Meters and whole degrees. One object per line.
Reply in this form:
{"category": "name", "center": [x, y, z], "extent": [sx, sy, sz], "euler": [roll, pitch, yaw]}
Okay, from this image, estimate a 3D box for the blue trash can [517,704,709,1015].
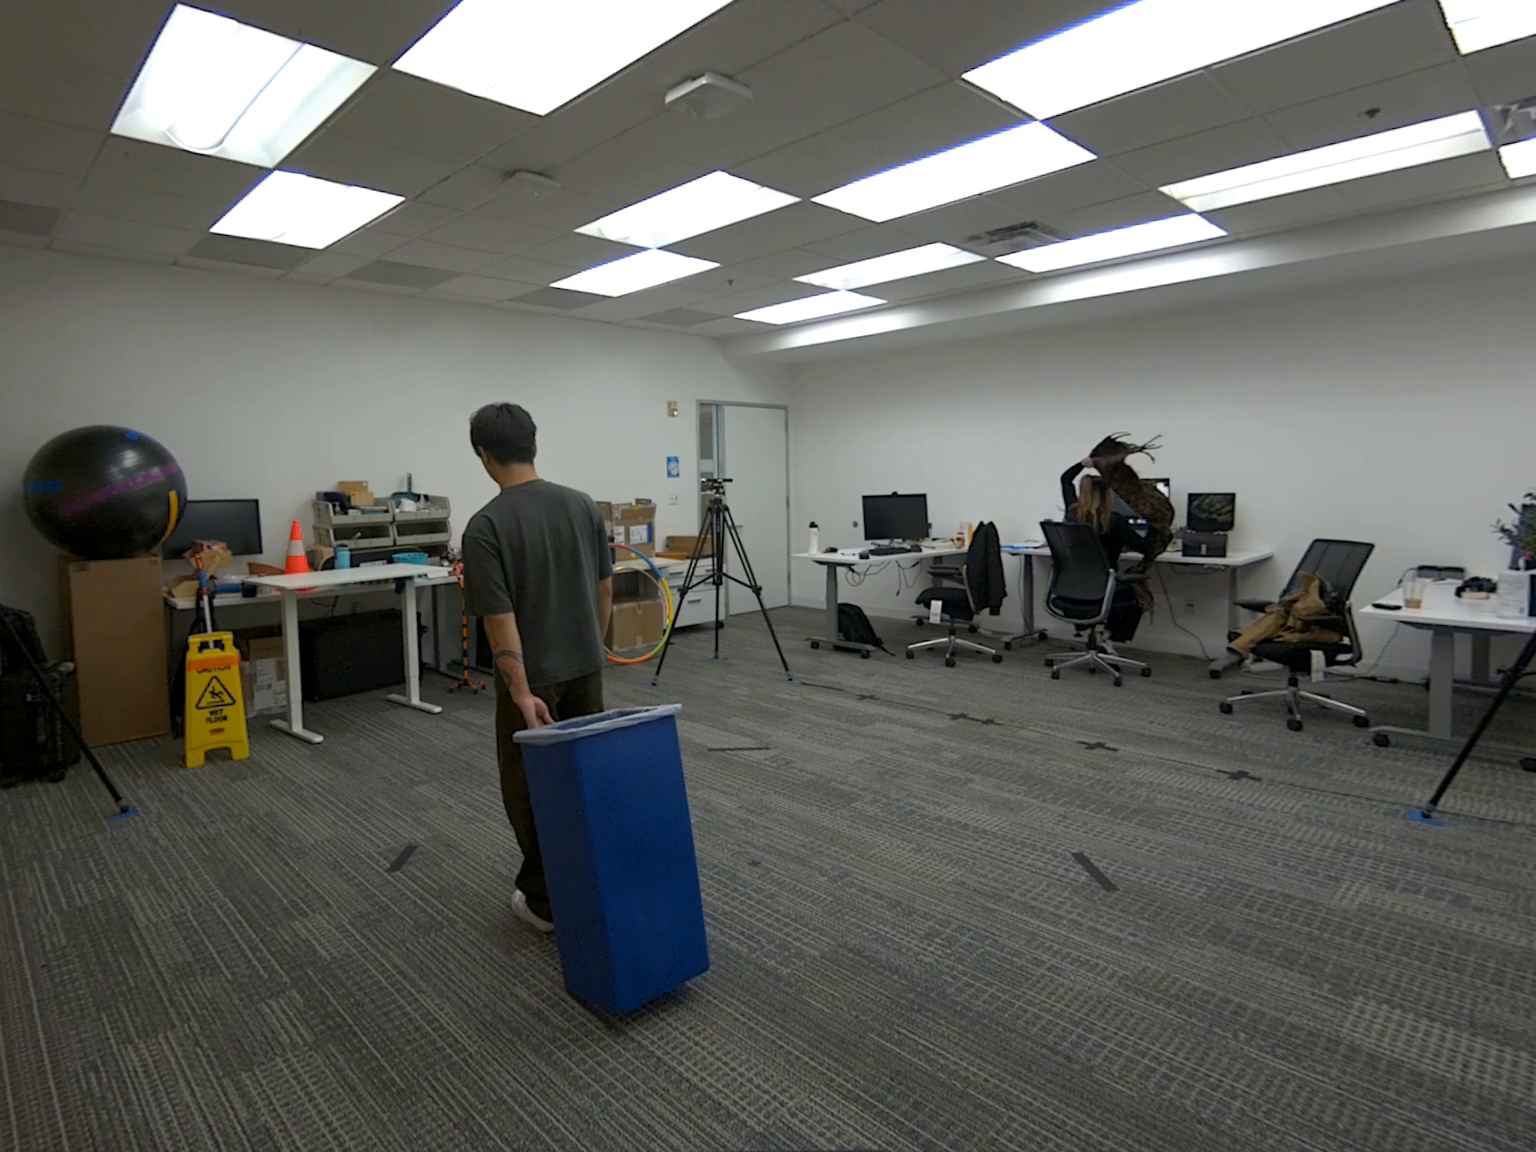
{"category": "blue trash can", "center": [-0.420, 0.755, 2.375], "extent": [0.364, 0.719, 0.385], "euler": [-4, -9, -40]}
